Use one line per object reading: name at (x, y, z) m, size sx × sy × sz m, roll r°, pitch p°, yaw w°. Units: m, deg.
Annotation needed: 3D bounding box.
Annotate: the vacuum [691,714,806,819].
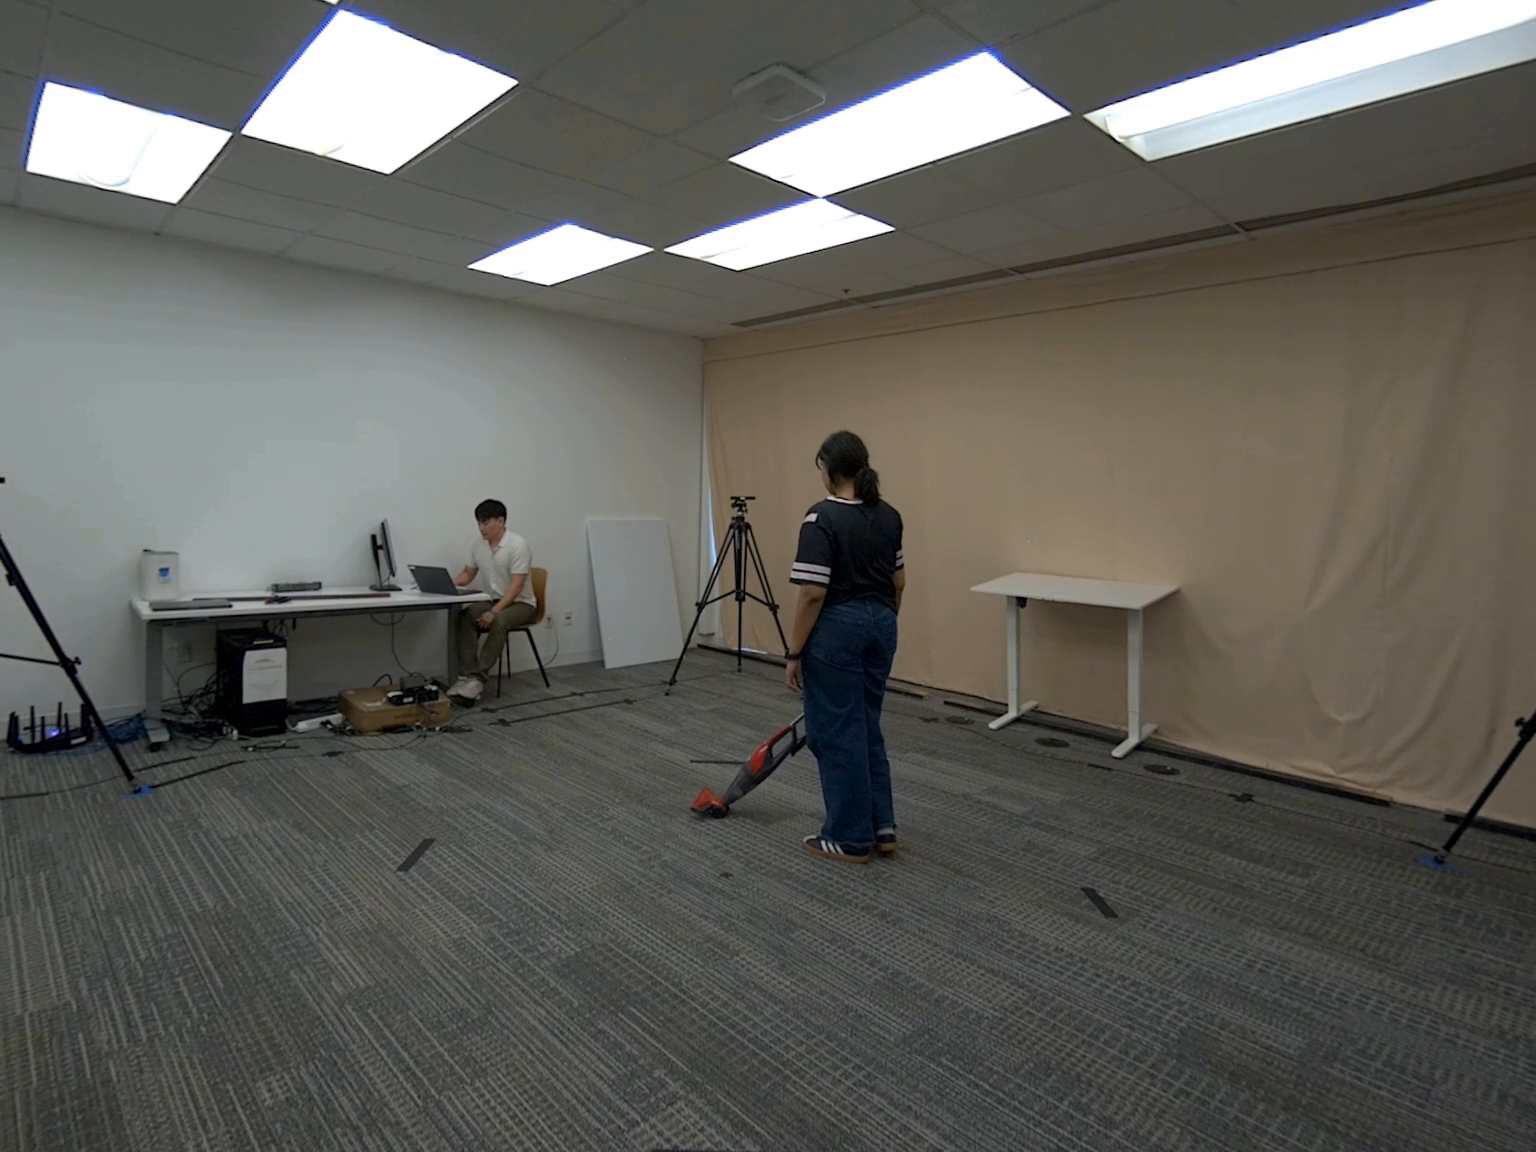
vacuum at (0.111, 0.680, 3.639) m, size 1.050 × 0.145 × 0.251 m, roll -42°, pitch -3°, yaw 10°
